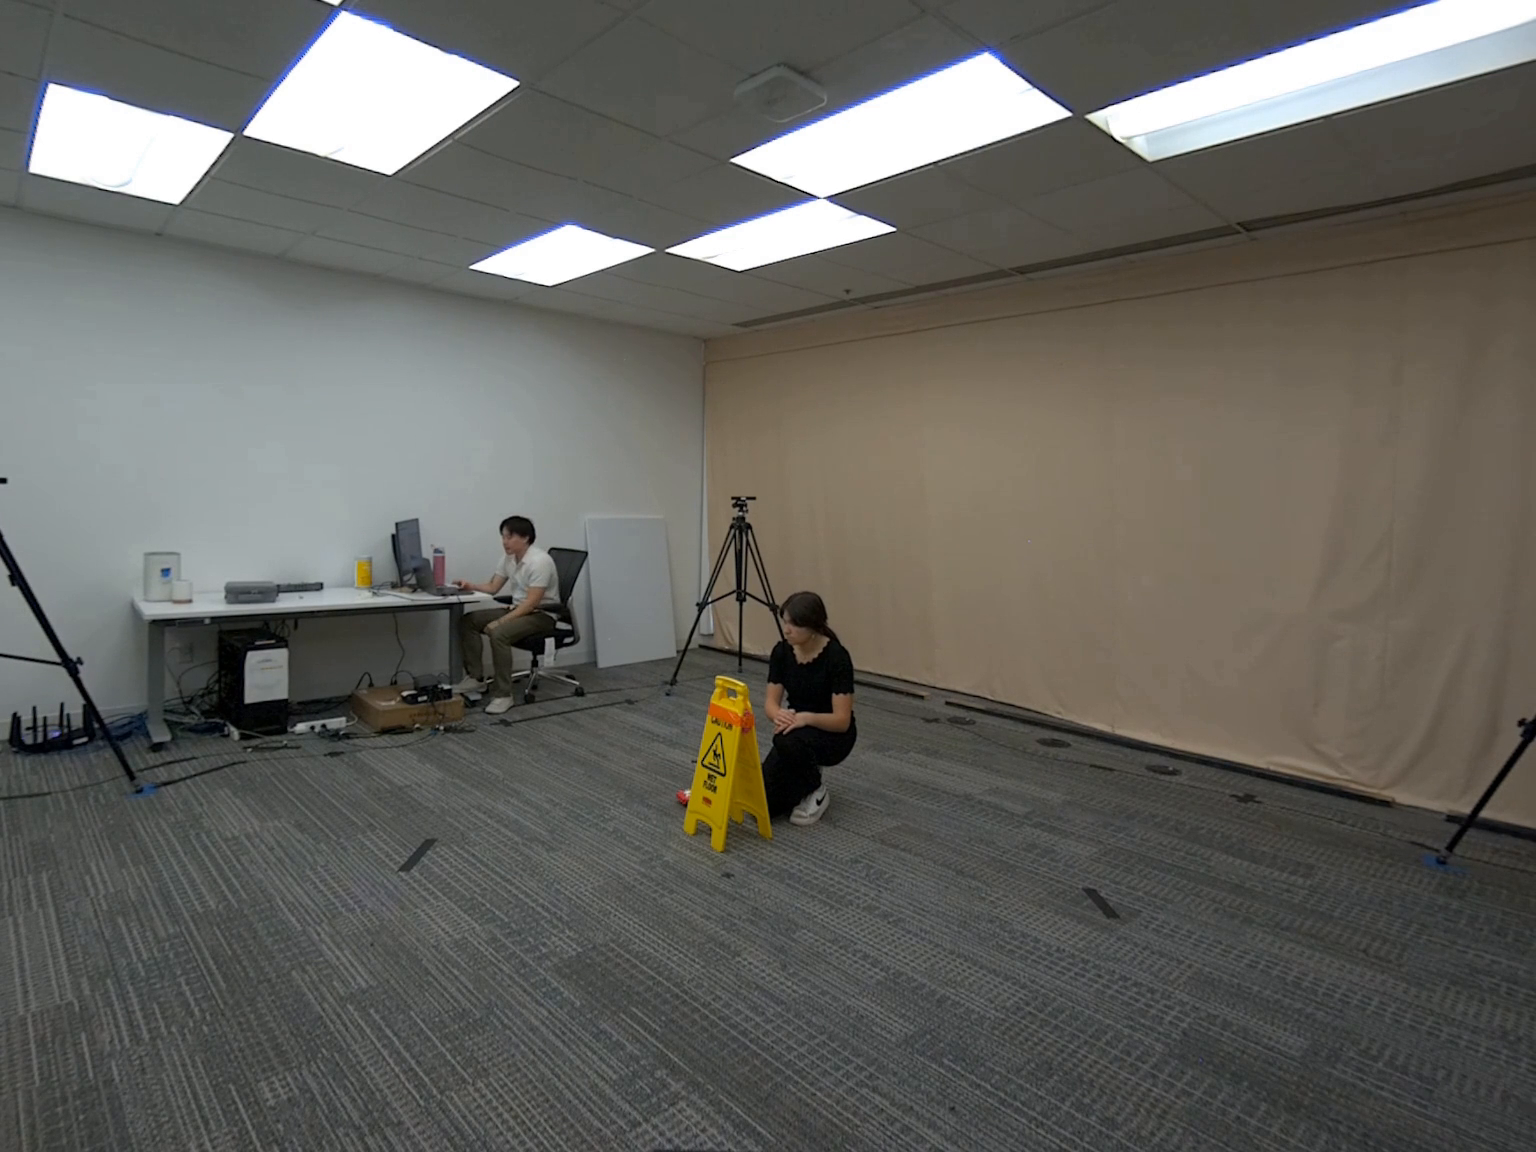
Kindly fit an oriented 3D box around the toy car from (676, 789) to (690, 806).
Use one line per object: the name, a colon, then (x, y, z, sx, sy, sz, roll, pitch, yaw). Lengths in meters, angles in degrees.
toy car: (-0.290, 0.999, 3.859, 0.251, 0.082, 0.133, -13, 10, -25)
